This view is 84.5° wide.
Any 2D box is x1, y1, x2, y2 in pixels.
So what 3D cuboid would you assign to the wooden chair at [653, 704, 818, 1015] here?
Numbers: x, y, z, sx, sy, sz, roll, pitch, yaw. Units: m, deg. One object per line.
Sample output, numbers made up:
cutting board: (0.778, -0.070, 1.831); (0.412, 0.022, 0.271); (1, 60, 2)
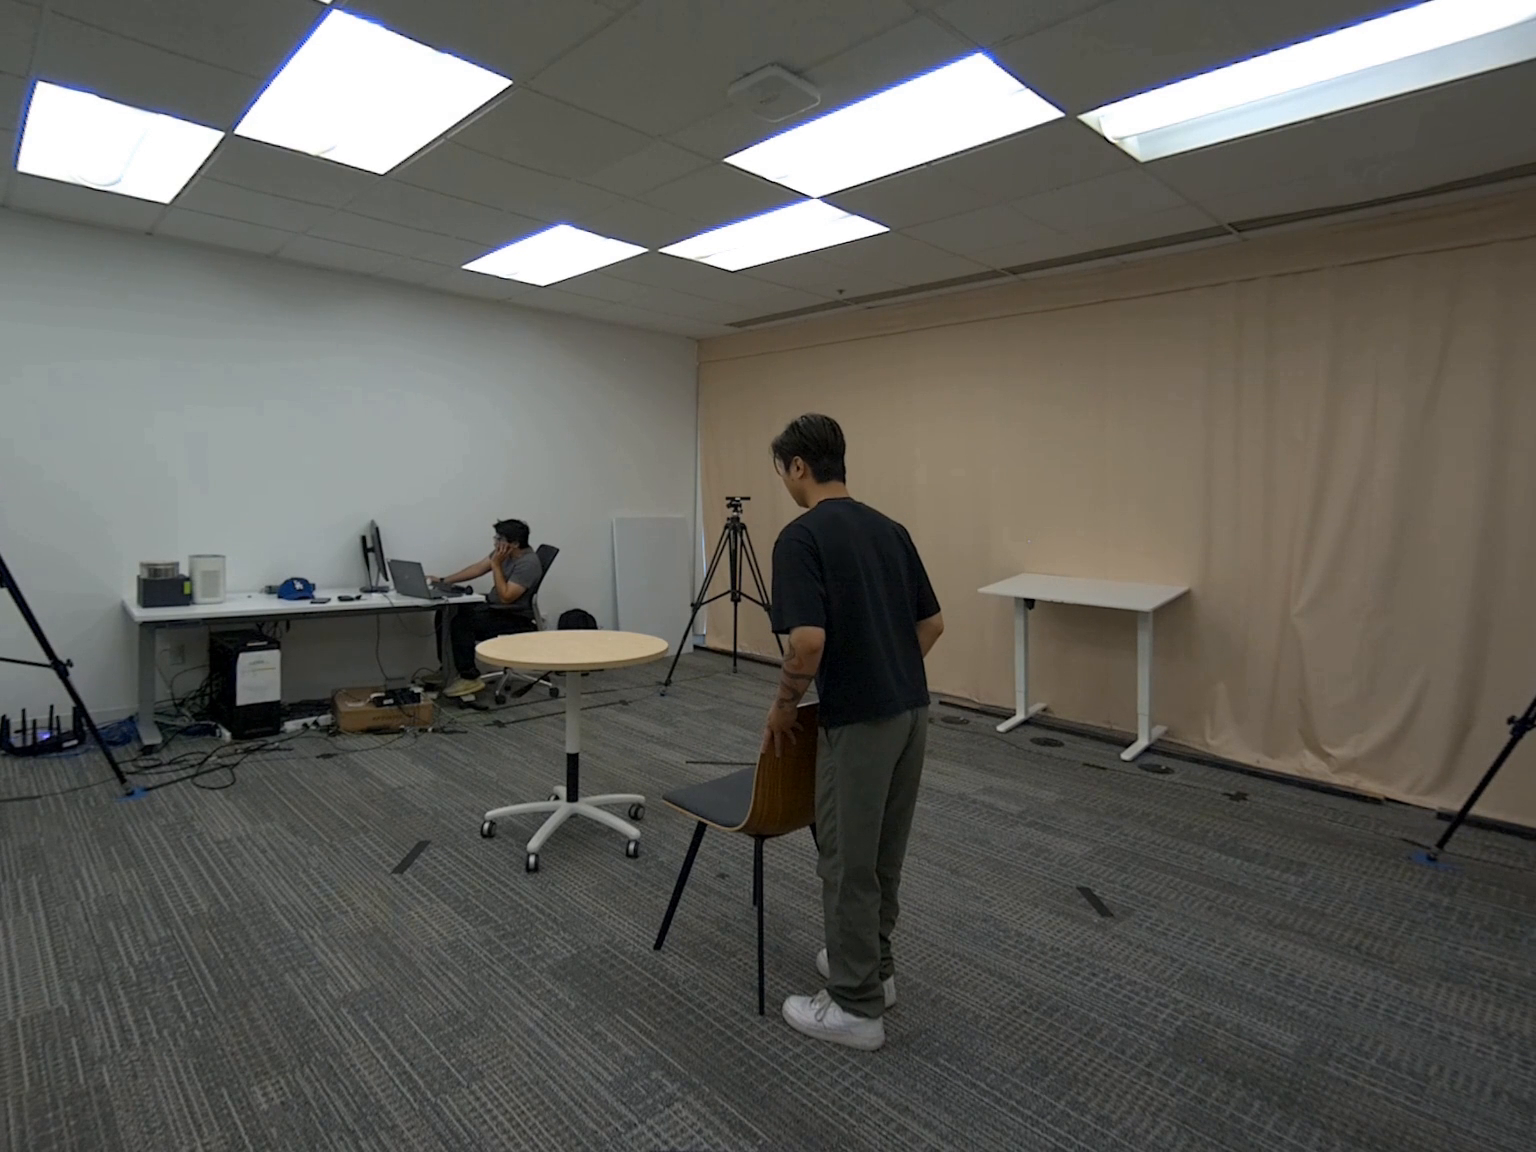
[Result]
wooden chair: (-0.033, 0.731, 2.558); (0.538, 0.873, 0.467); (11, 10, 43)
